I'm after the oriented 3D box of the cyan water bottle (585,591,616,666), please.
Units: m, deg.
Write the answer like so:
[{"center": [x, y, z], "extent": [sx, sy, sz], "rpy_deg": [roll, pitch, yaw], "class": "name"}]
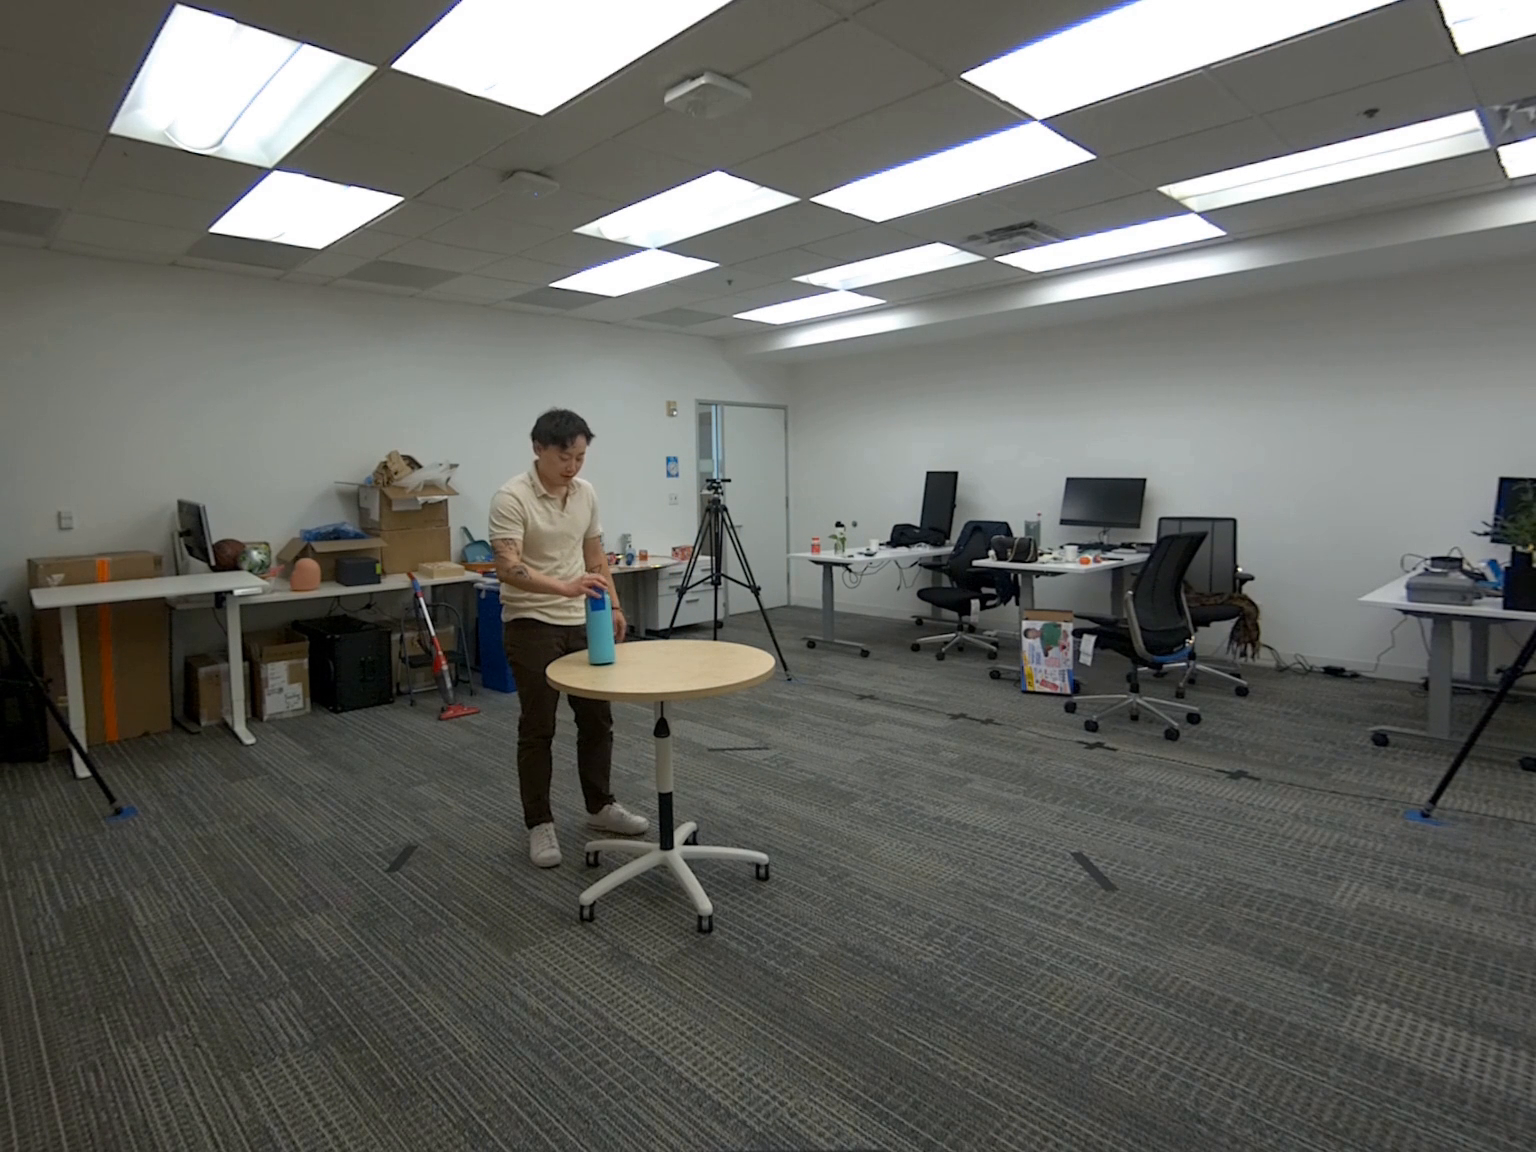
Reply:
[{"center": [-0.573, 0.155, 2.896], "extent": [0.092, 0.284, 0.092], "rpy_deg": [-5, -2, -2], "class": "cyan water bottle"}]
